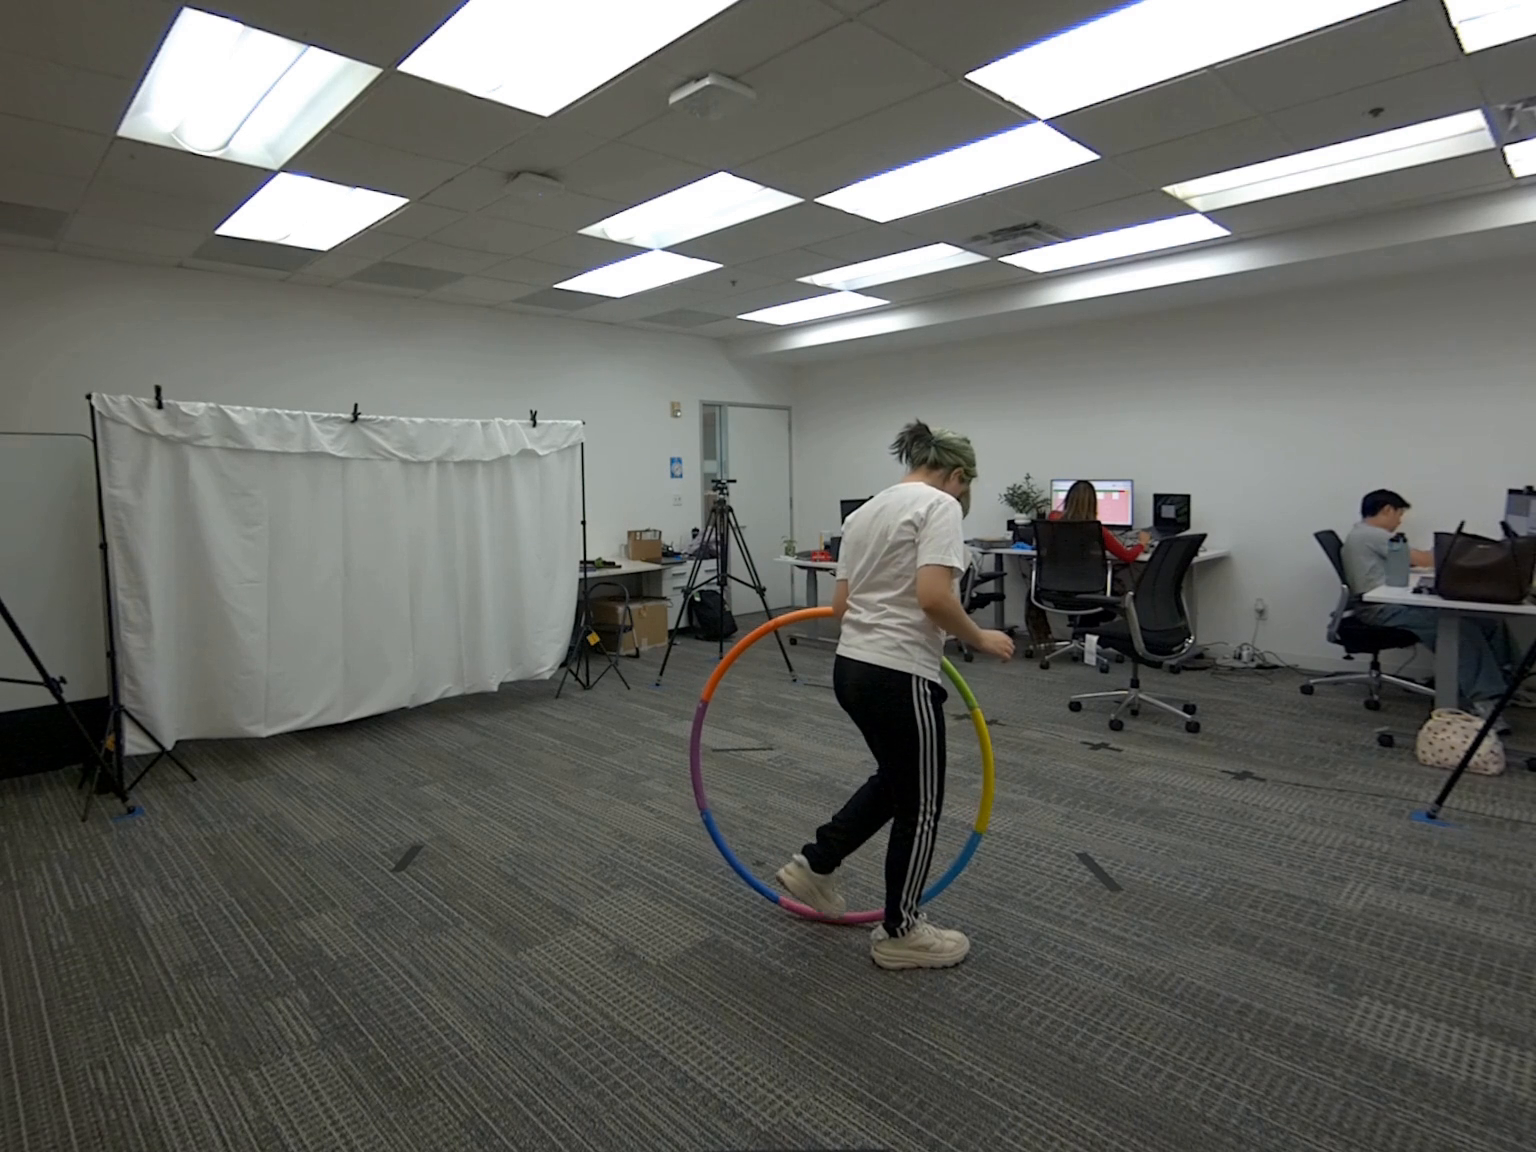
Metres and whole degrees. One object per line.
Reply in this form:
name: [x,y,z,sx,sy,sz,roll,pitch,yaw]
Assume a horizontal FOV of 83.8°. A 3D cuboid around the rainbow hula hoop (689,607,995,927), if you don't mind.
rainbow hula hoop: [0.210,0.596,2.758,0.995,0.985,0.035,0,-8,18]
